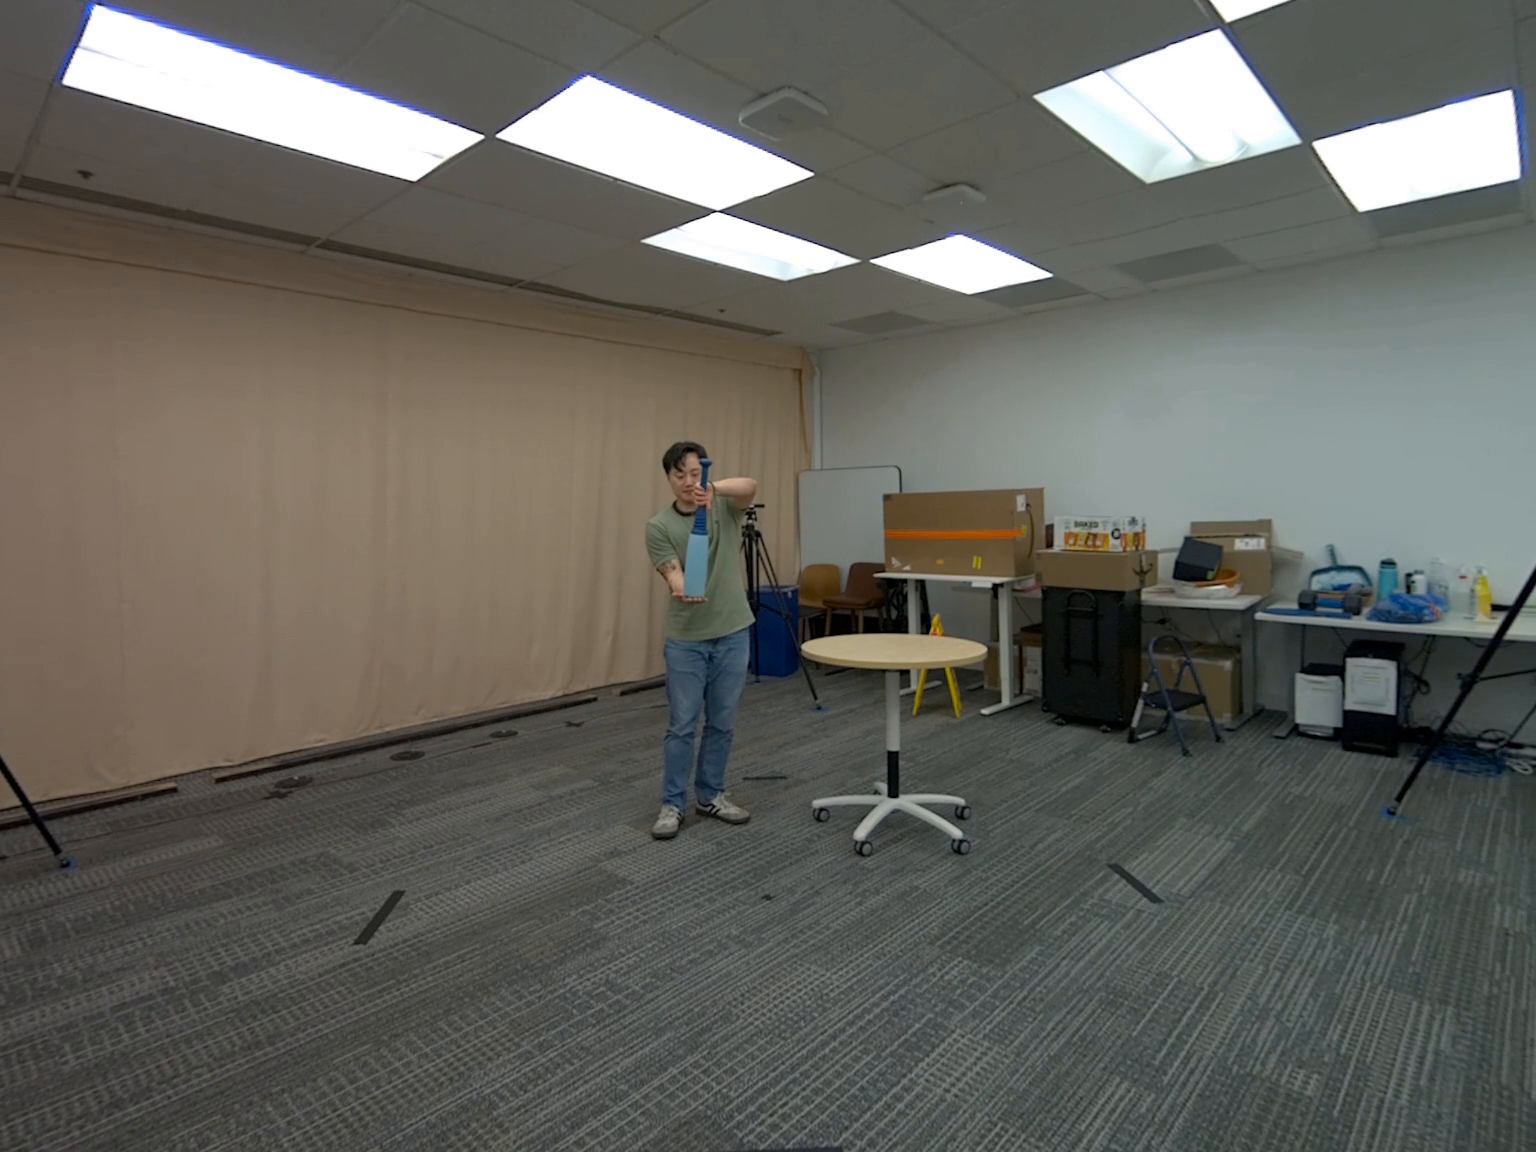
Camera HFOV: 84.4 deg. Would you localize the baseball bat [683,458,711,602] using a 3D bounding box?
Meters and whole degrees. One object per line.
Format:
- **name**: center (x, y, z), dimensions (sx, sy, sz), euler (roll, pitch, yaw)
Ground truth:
- **baseball bat**: center (-0.264, -0.182, 3.288), dimensions (0.089, 0.541, 0.089), euler (5, 6, -2)
